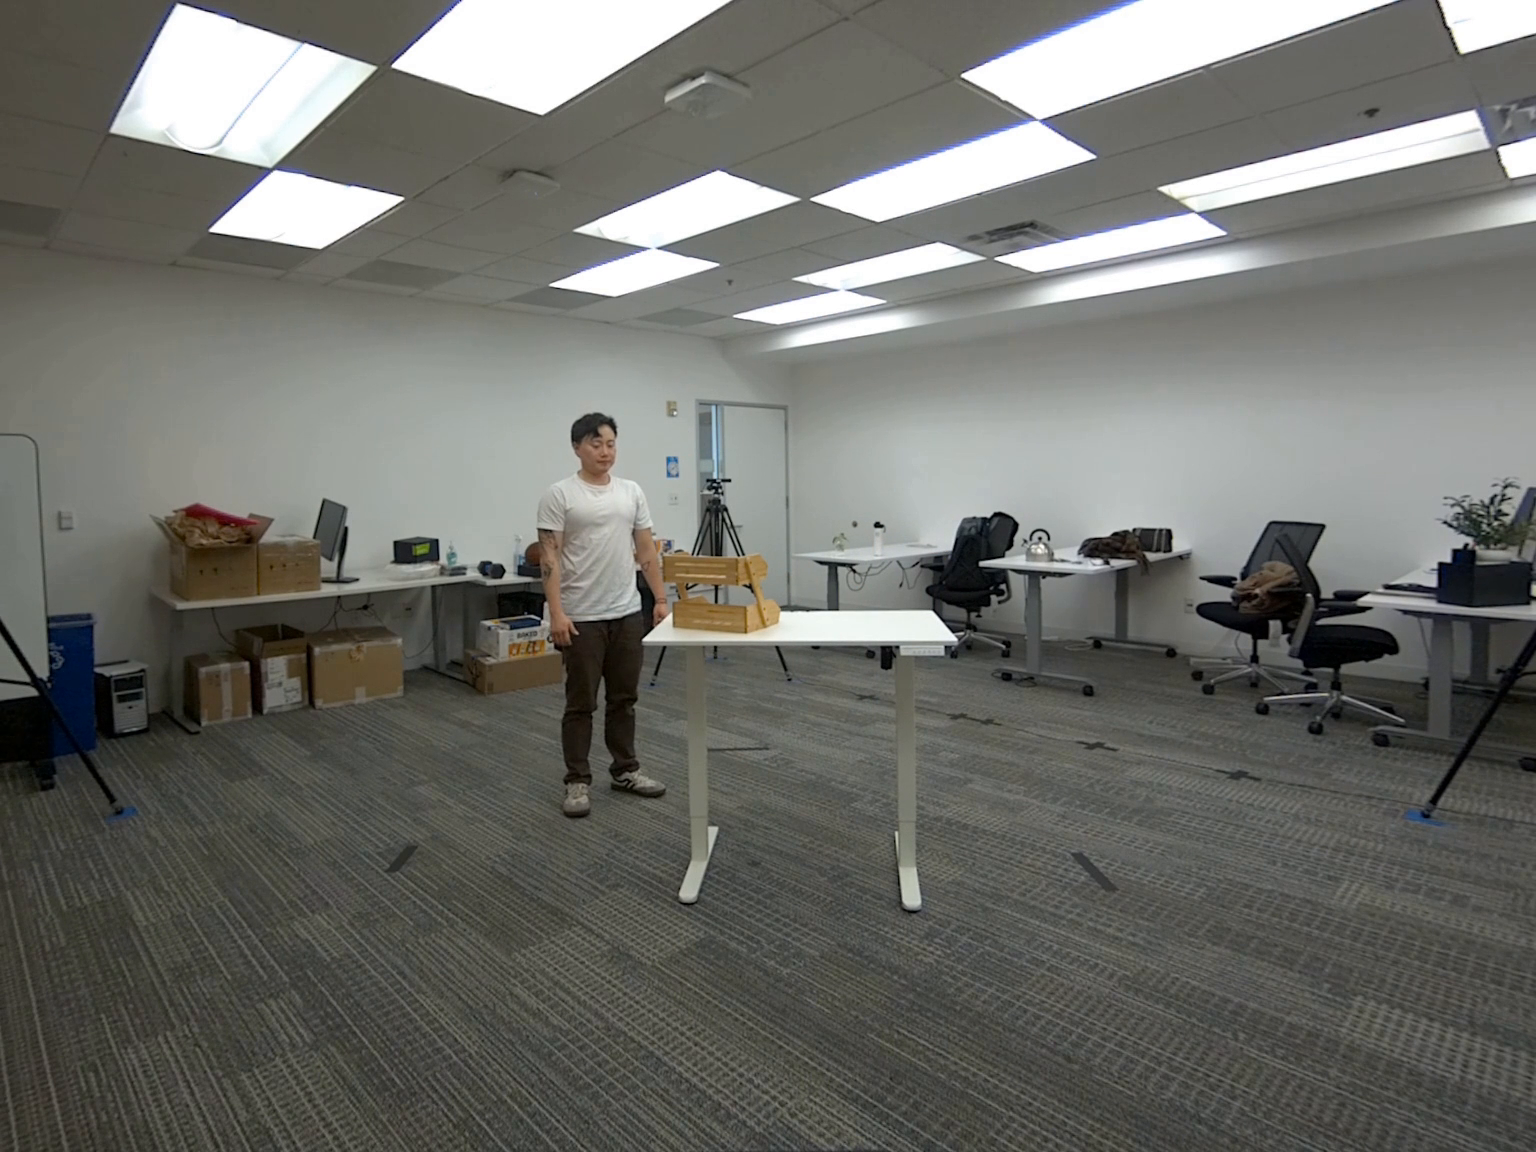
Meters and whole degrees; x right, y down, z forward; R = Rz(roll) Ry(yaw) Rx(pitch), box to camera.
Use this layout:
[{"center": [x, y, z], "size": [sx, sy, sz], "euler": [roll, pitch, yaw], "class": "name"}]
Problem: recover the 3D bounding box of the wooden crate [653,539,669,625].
[{"center": [-0.151, 0.045, 3.000], "size": [0.333, 0.272, 0.296], "euler": [2, 7, 29], "class": "wooden crate"}]
